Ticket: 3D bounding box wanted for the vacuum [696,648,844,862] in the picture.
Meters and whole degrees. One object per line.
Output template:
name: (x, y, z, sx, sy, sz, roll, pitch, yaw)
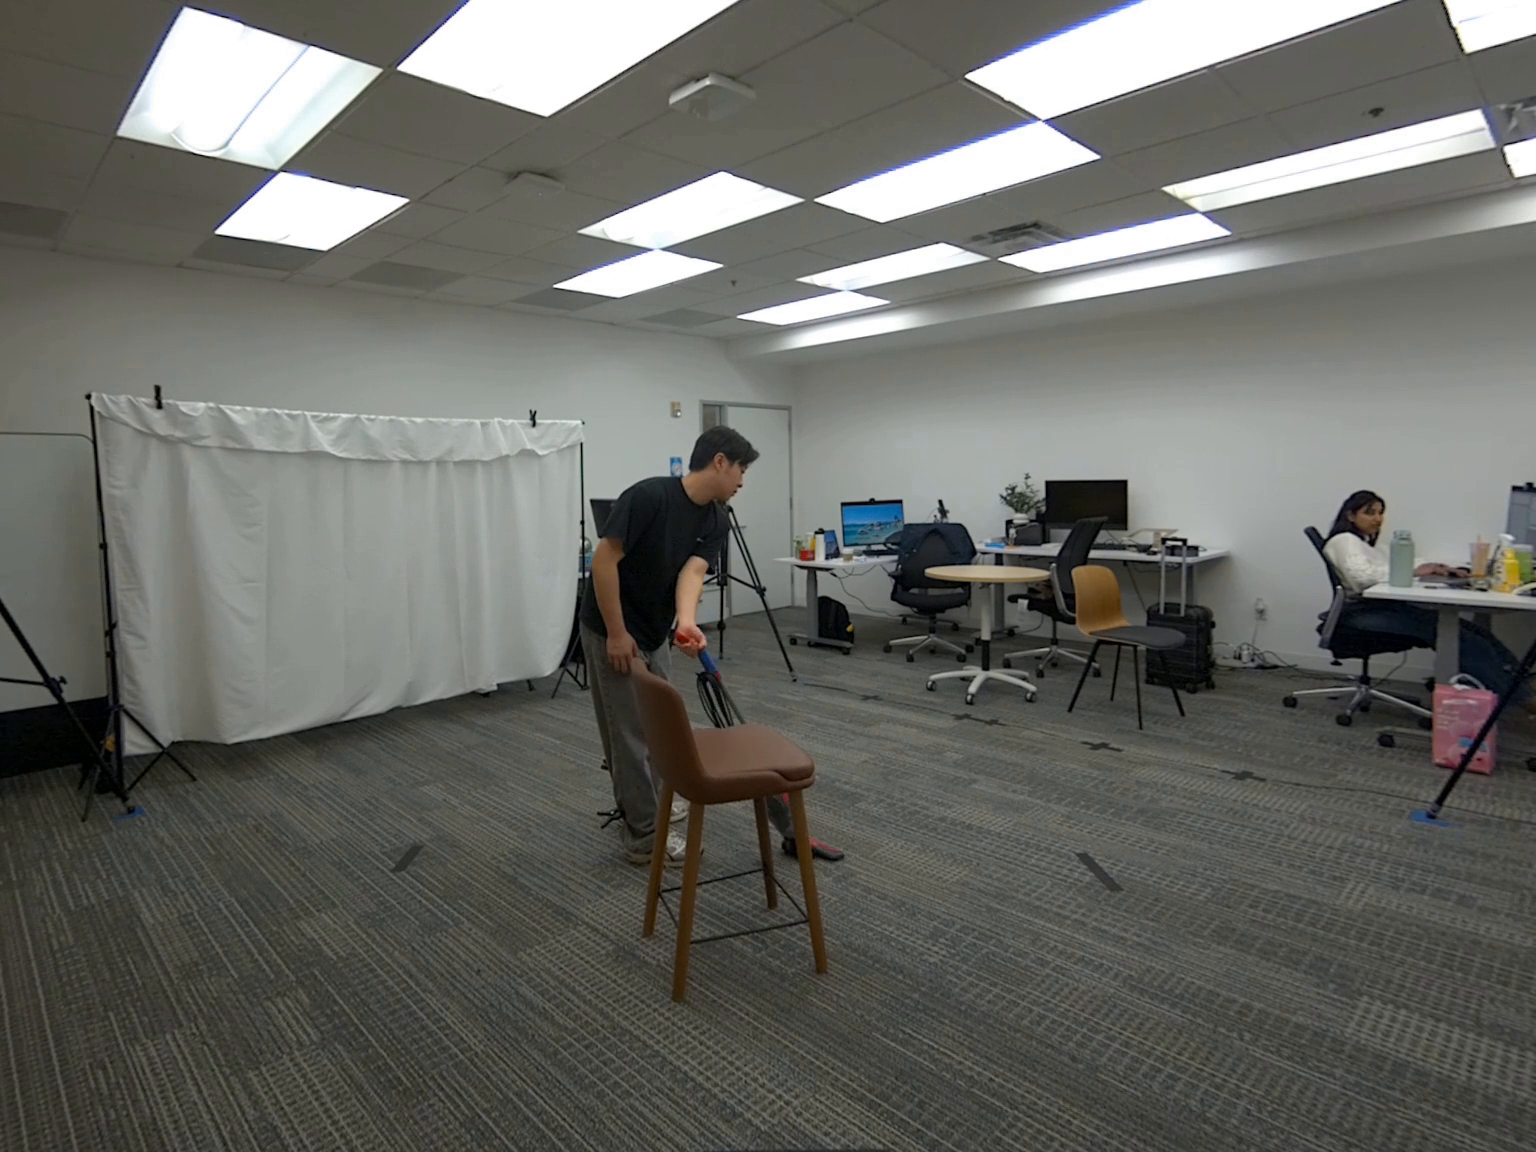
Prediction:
vacuum: (-0.064, 0.614, 2.999, 0.143, 1.021, 0.260, -42, 27, -30)
